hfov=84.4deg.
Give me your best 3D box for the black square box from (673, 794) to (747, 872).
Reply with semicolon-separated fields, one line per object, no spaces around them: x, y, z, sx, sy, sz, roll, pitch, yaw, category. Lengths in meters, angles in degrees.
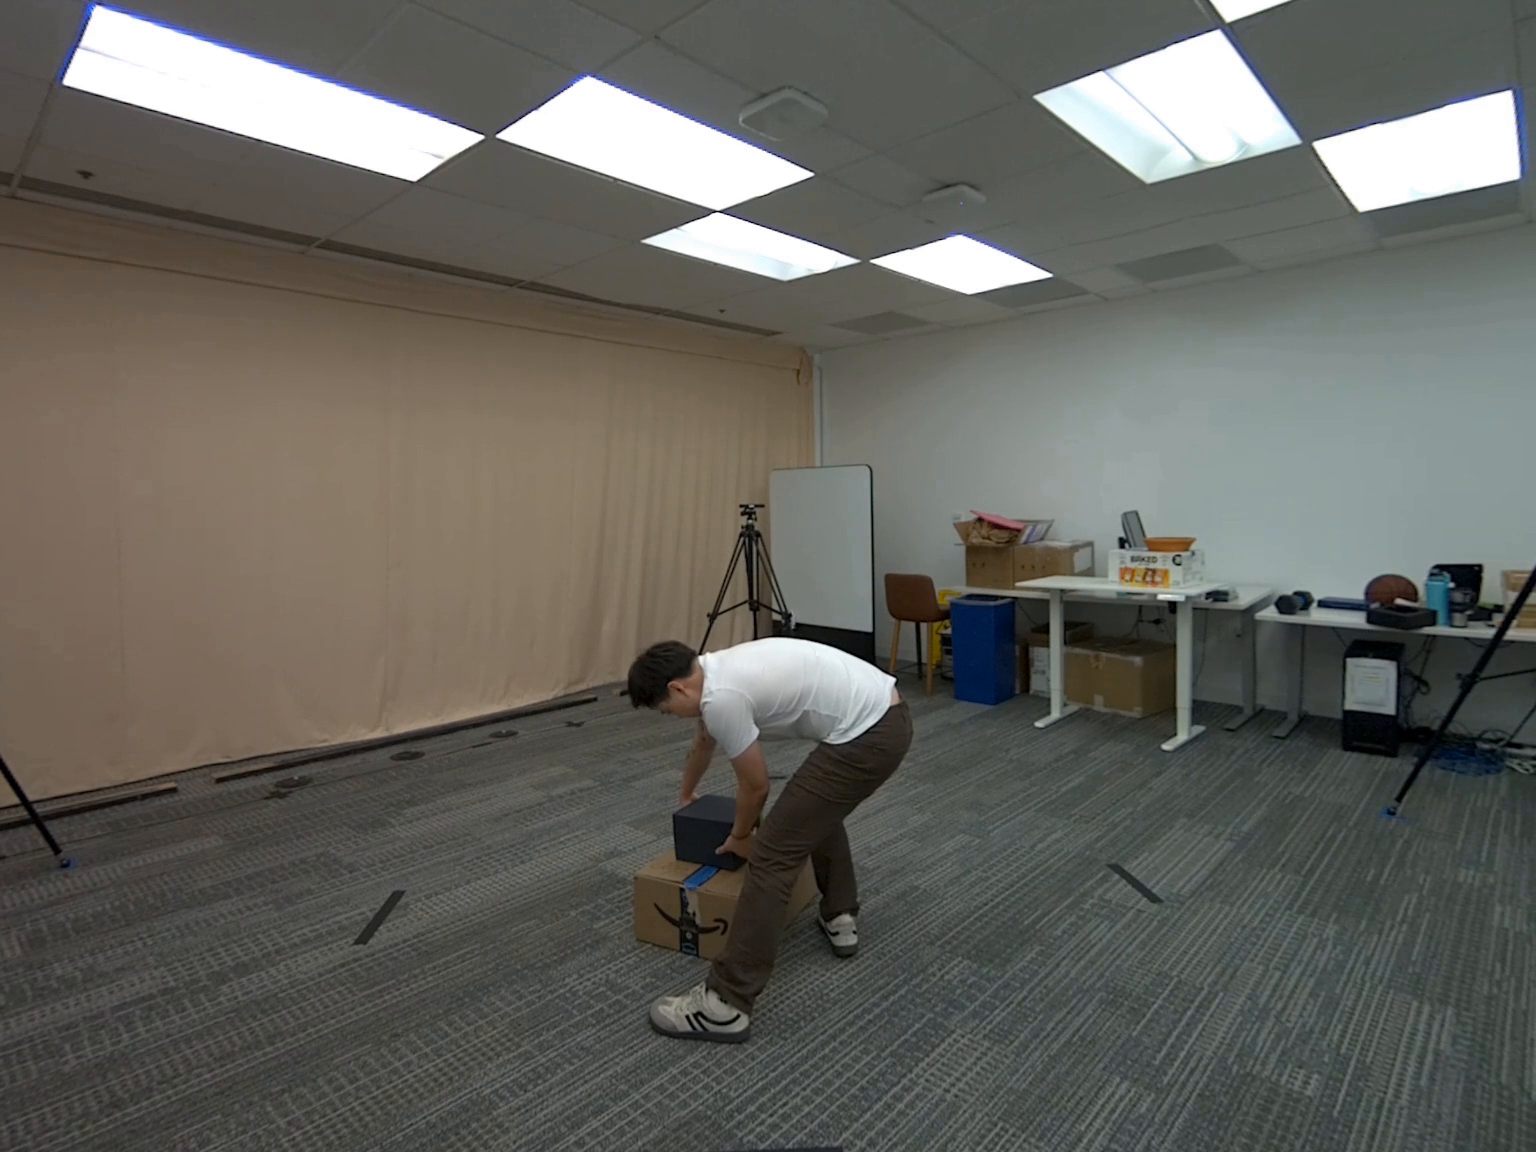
-0.162;0.857;2.835;0.234;0.155;0.212;-1;4;28;black square box
